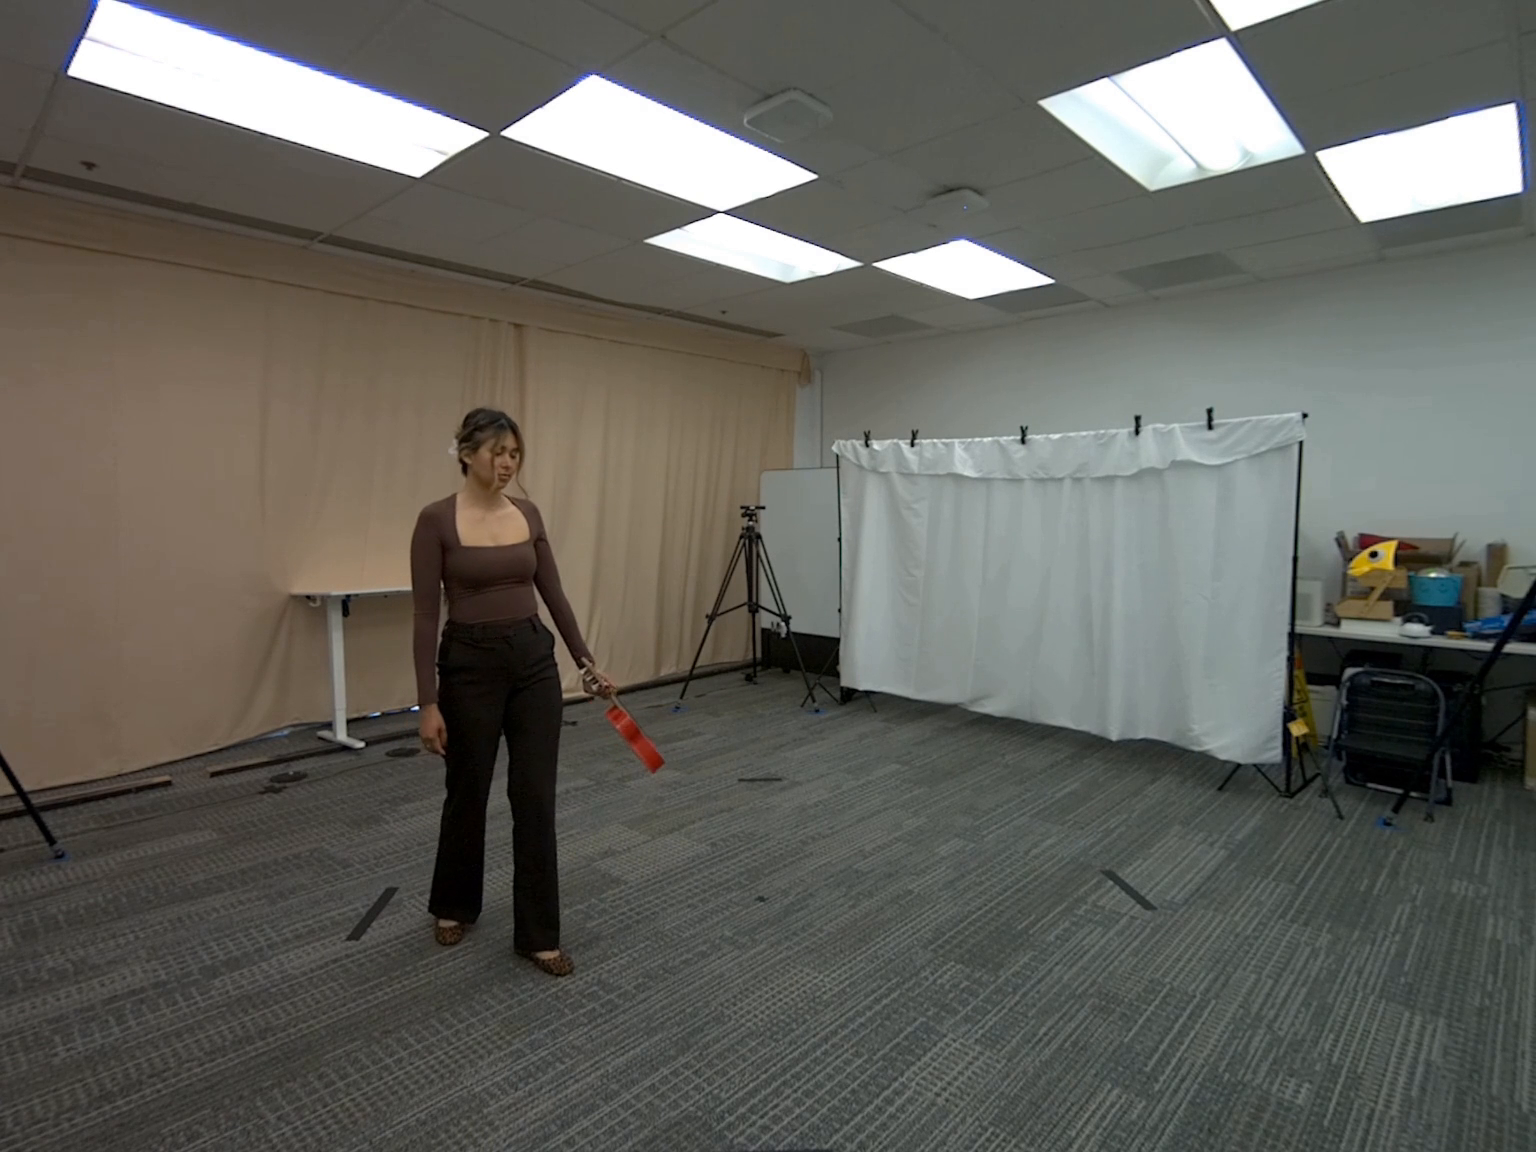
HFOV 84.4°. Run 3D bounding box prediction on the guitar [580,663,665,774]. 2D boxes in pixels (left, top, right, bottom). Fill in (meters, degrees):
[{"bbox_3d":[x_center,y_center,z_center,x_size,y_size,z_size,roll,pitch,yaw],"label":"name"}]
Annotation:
[{"bbox_3d":[-0.516,0.458,2.876,0.070,0.487,0.198,-40,21,-15],"label":"guitar"}]
